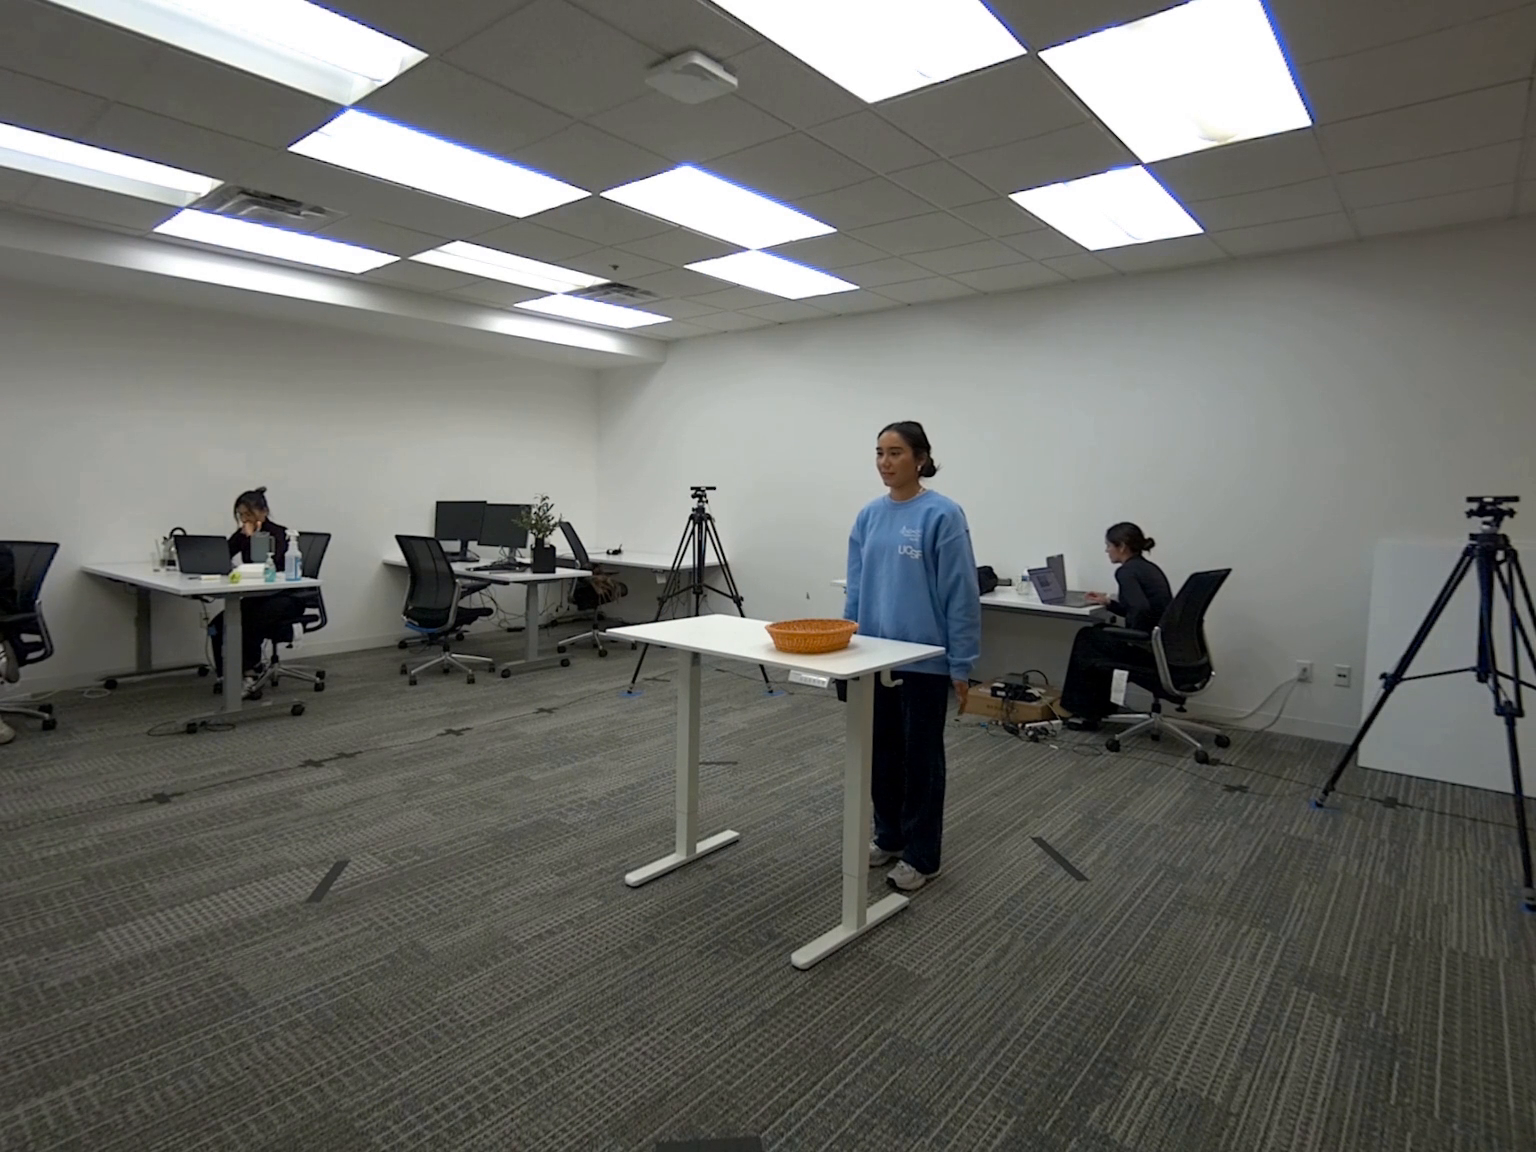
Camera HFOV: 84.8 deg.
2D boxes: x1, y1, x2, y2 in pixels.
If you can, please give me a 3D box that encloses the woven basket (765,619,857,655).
[{"bbox_3d":[0.133,0.198,2.729,0.261,0.073,0.340,3,5,41],"label":"woven basket"}]
